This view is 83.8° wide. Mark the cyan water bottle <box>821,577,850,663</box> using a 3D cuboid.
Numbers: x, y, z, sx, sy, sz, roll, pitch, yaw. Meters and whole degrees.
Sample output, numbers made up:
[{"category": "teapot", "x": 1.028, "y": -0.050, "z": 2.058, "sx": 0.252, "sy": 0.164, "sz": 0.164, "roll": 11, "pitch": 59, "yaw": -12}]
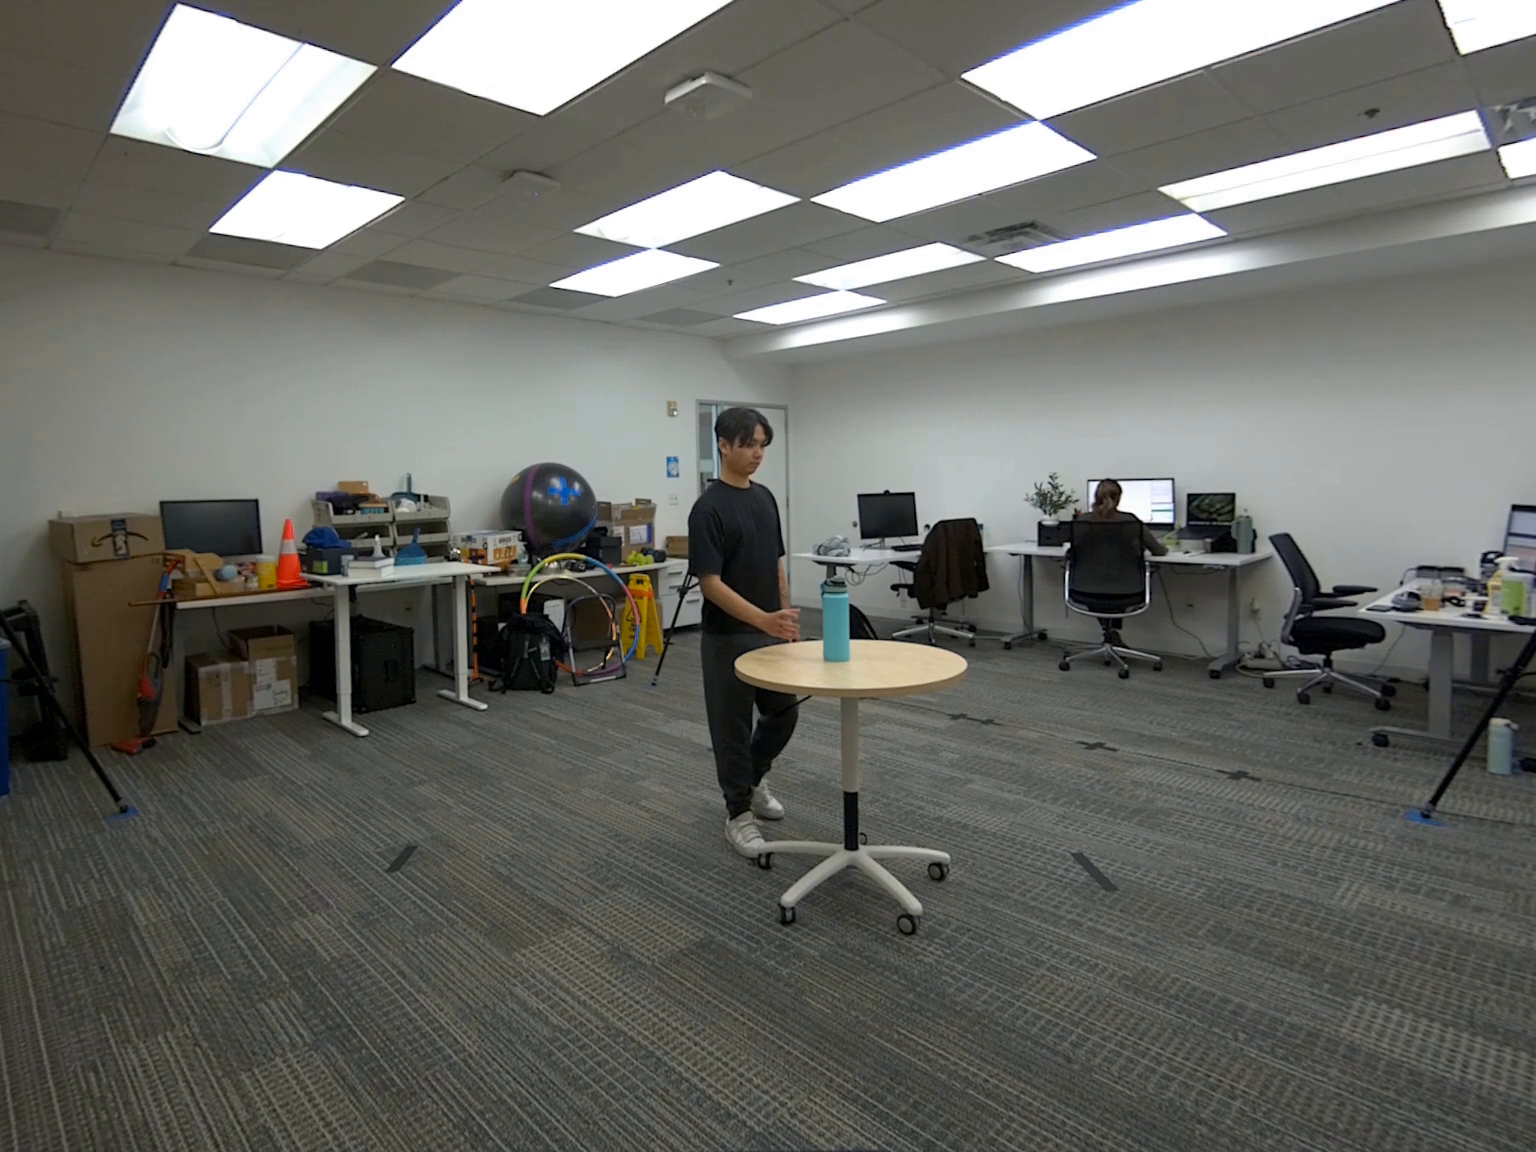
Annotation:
[{"category": "cyan water bottle", "x": 0.231, "y": 0.145, "z": 2.883, "sx": 0.092, "sy": 0.283, "sz": 0.092, "roll": -3, "pitch": 3, "yaw": -1}]
